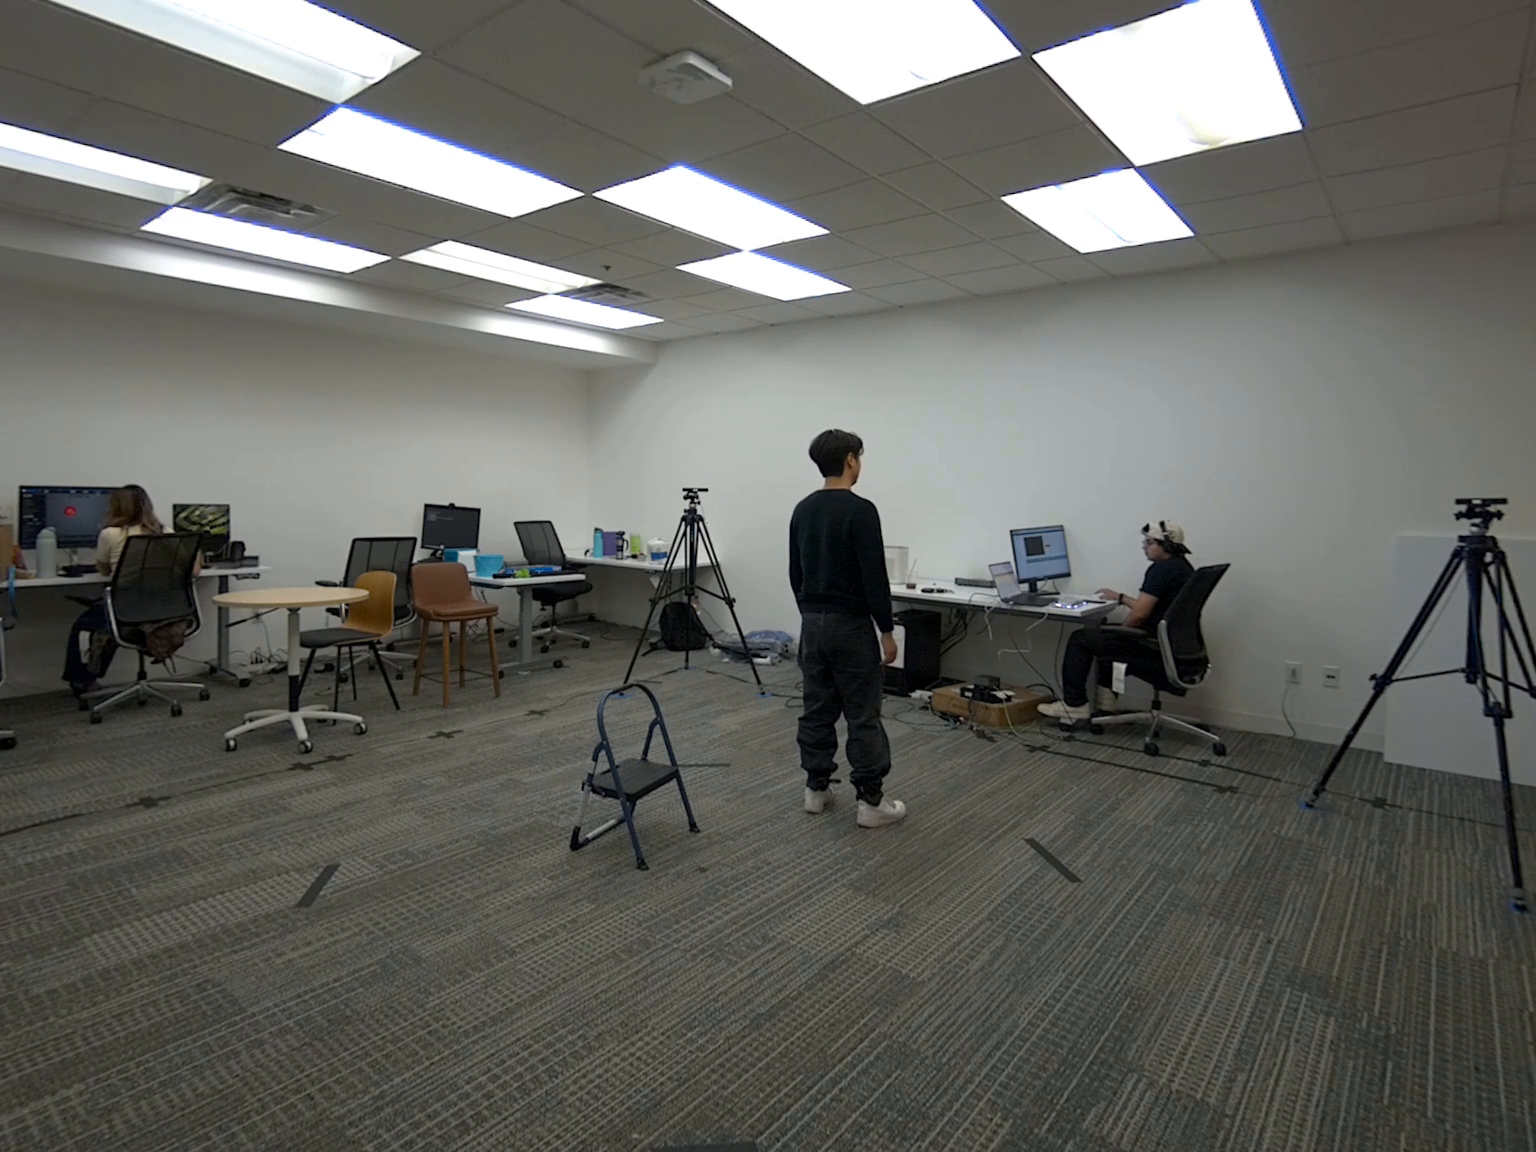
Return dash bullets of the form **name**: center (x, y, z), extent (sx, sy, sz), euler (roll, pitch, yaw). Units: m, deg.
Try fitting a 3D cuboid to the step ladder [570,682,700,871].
- **step ladder**: center (-0.522, 0.738, 3.341), extent (0.358, 0.604, 0.421), euler (3, 4, 25)
